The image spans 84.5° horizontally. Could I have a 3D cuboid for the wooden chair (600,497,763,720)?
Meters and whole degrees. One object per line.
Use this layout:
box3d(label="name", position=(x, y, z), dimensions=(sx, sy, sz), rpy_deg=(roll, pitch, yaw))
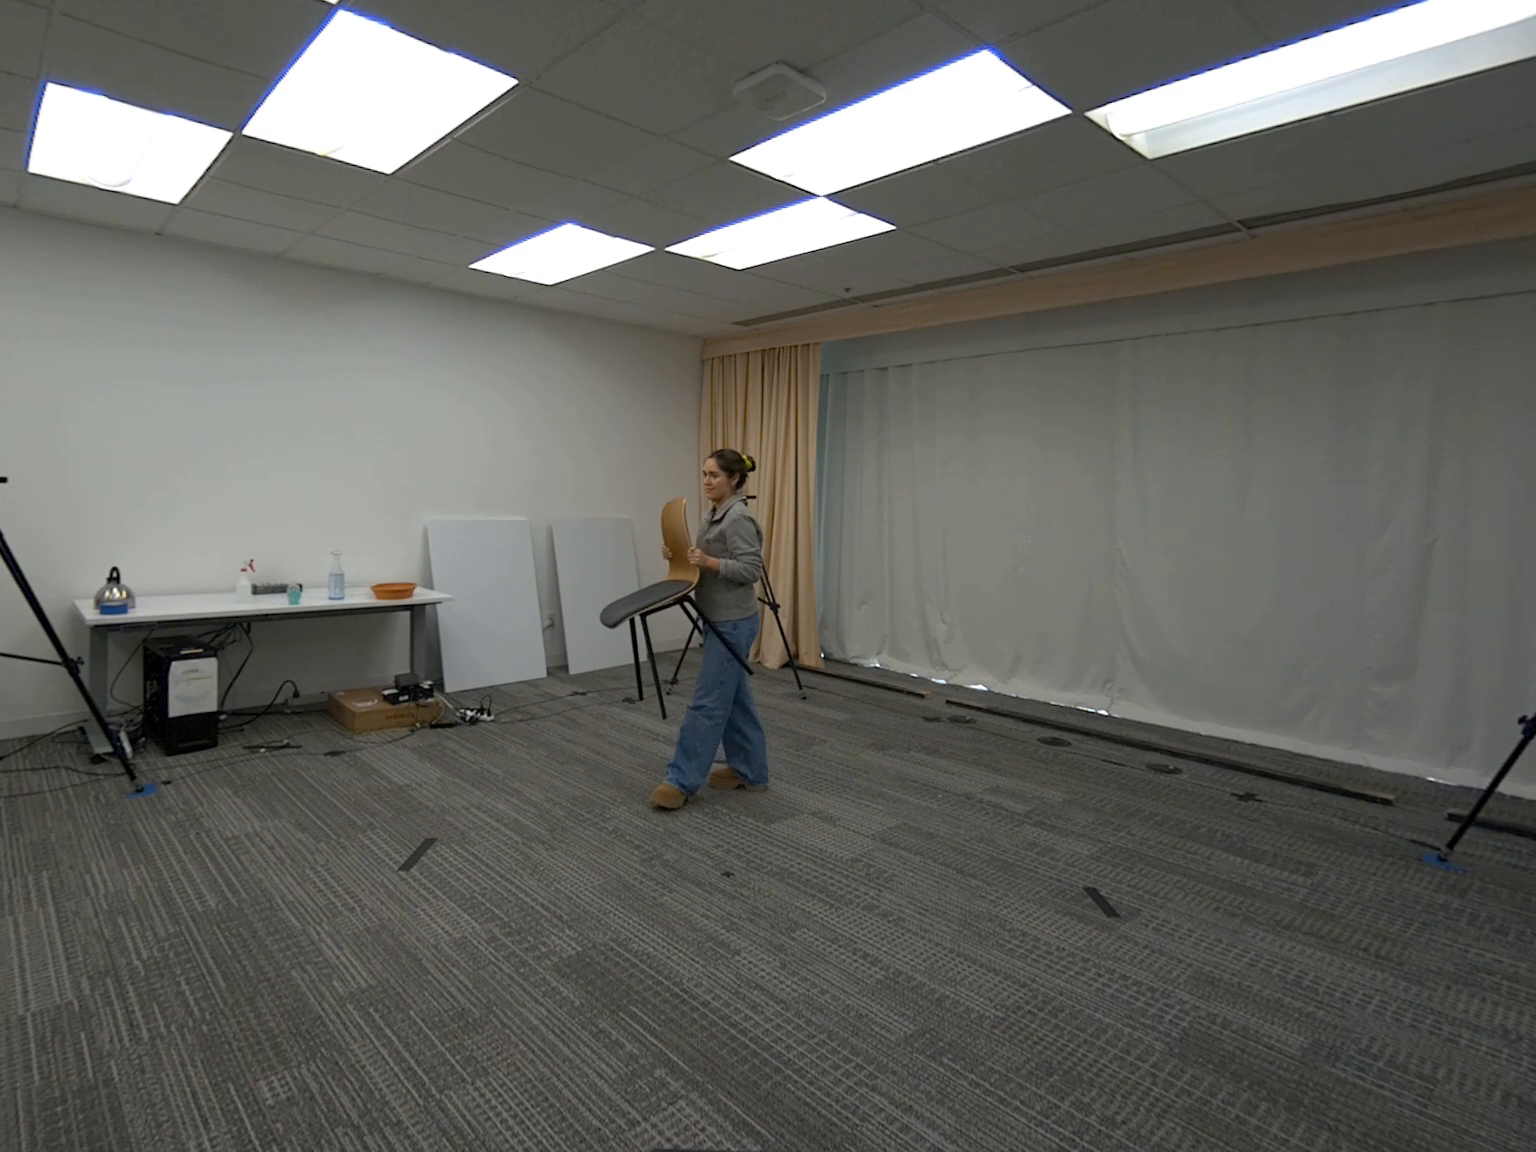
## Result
box3d(label="wooden chair", position=(-0.505, 0.133, 3.811), dimensions=(0.518, 0.871, 0.486), rpy_deg=(-19, 9, -20))
